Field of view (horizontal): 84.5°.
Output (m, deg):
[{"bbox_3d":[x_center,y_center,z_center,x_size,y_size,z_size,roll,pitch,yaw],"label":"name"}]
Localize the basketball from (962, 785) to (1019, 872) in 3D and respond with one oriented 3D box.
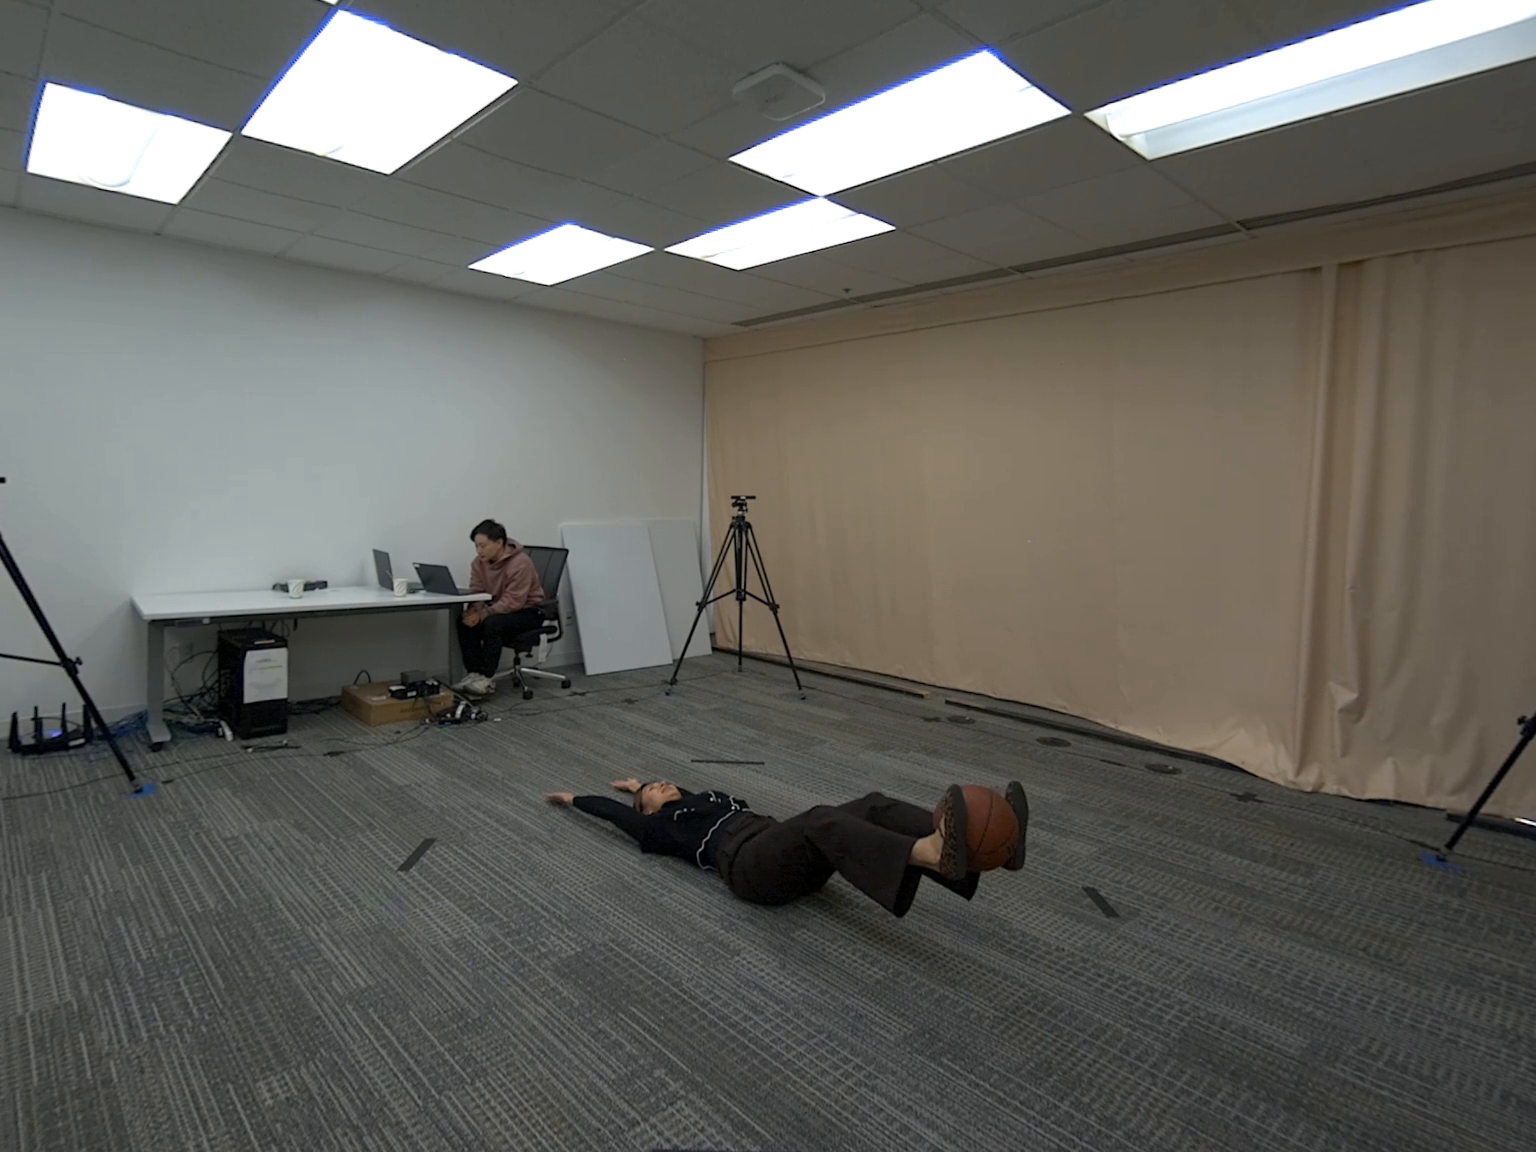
[{"bbox_3d":[0.583,0.720,2.389,0.236,0.235,0.237,1,4,-1],"label":"basketball"}]
